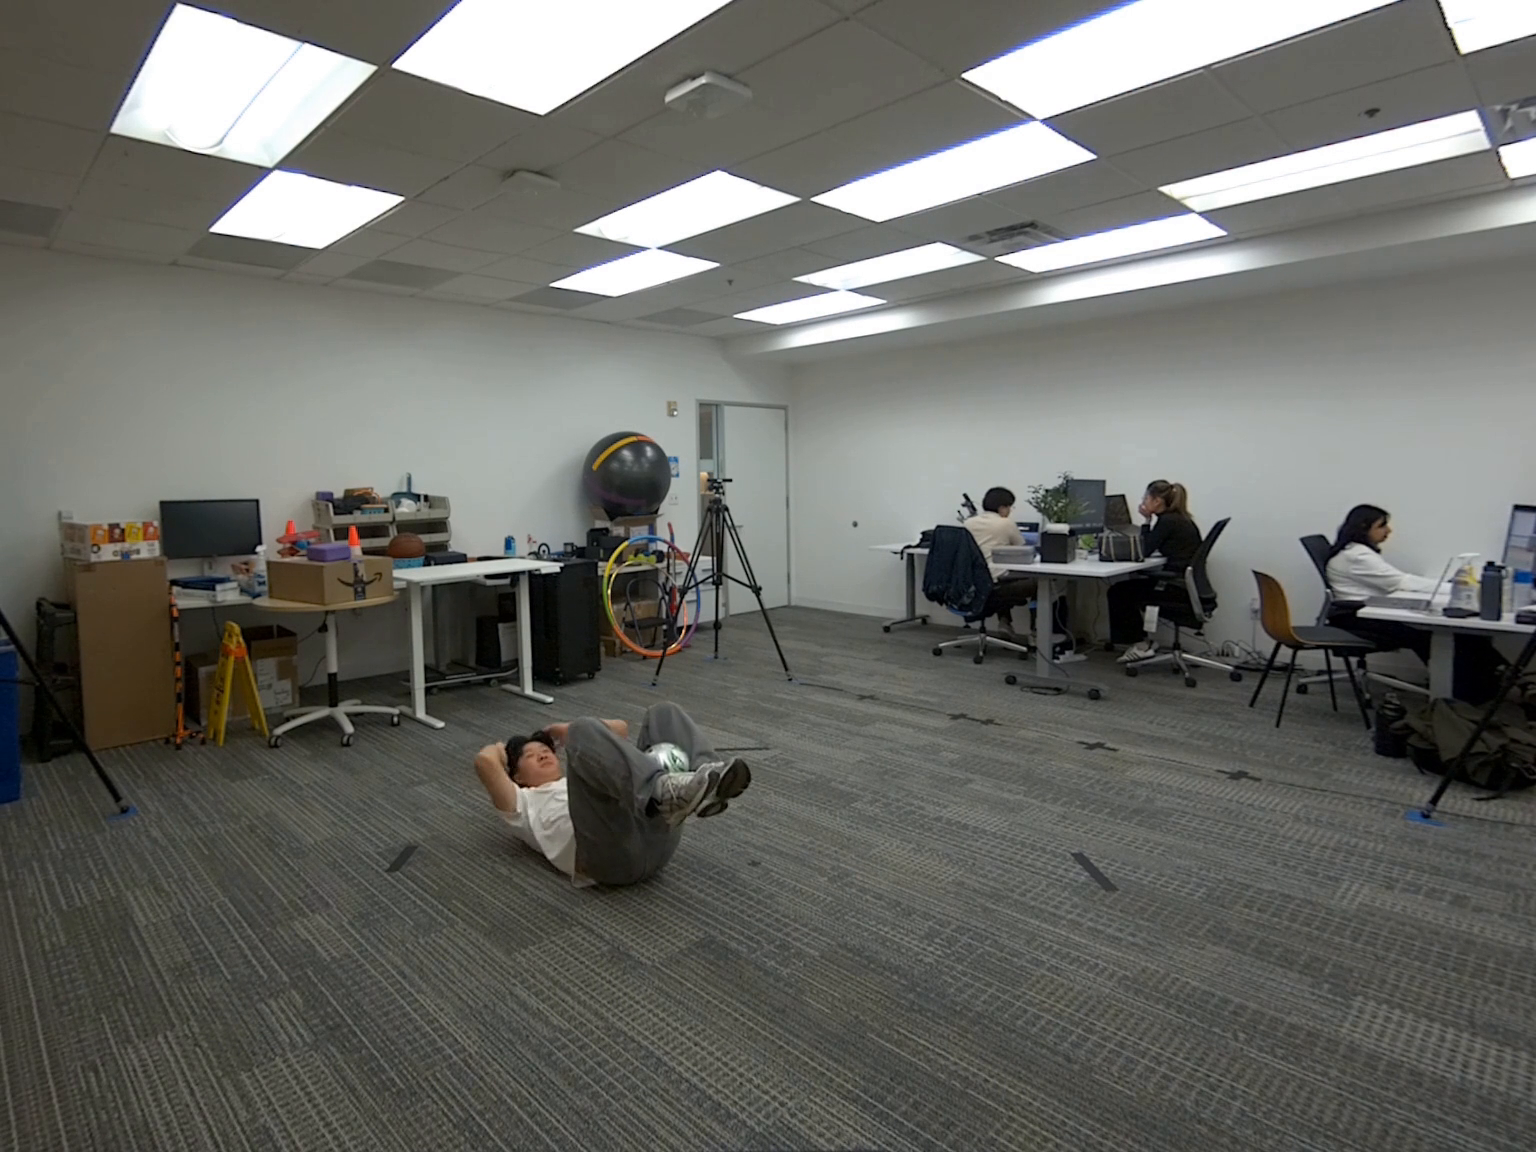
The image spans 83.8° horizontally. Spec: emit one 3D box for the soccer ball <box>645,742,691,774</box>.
[{"bbox_3d":[-0.353,0.647,2.811,0.187,0.187,0.188,-1,5,-2],"label":"soccer ball"}]
